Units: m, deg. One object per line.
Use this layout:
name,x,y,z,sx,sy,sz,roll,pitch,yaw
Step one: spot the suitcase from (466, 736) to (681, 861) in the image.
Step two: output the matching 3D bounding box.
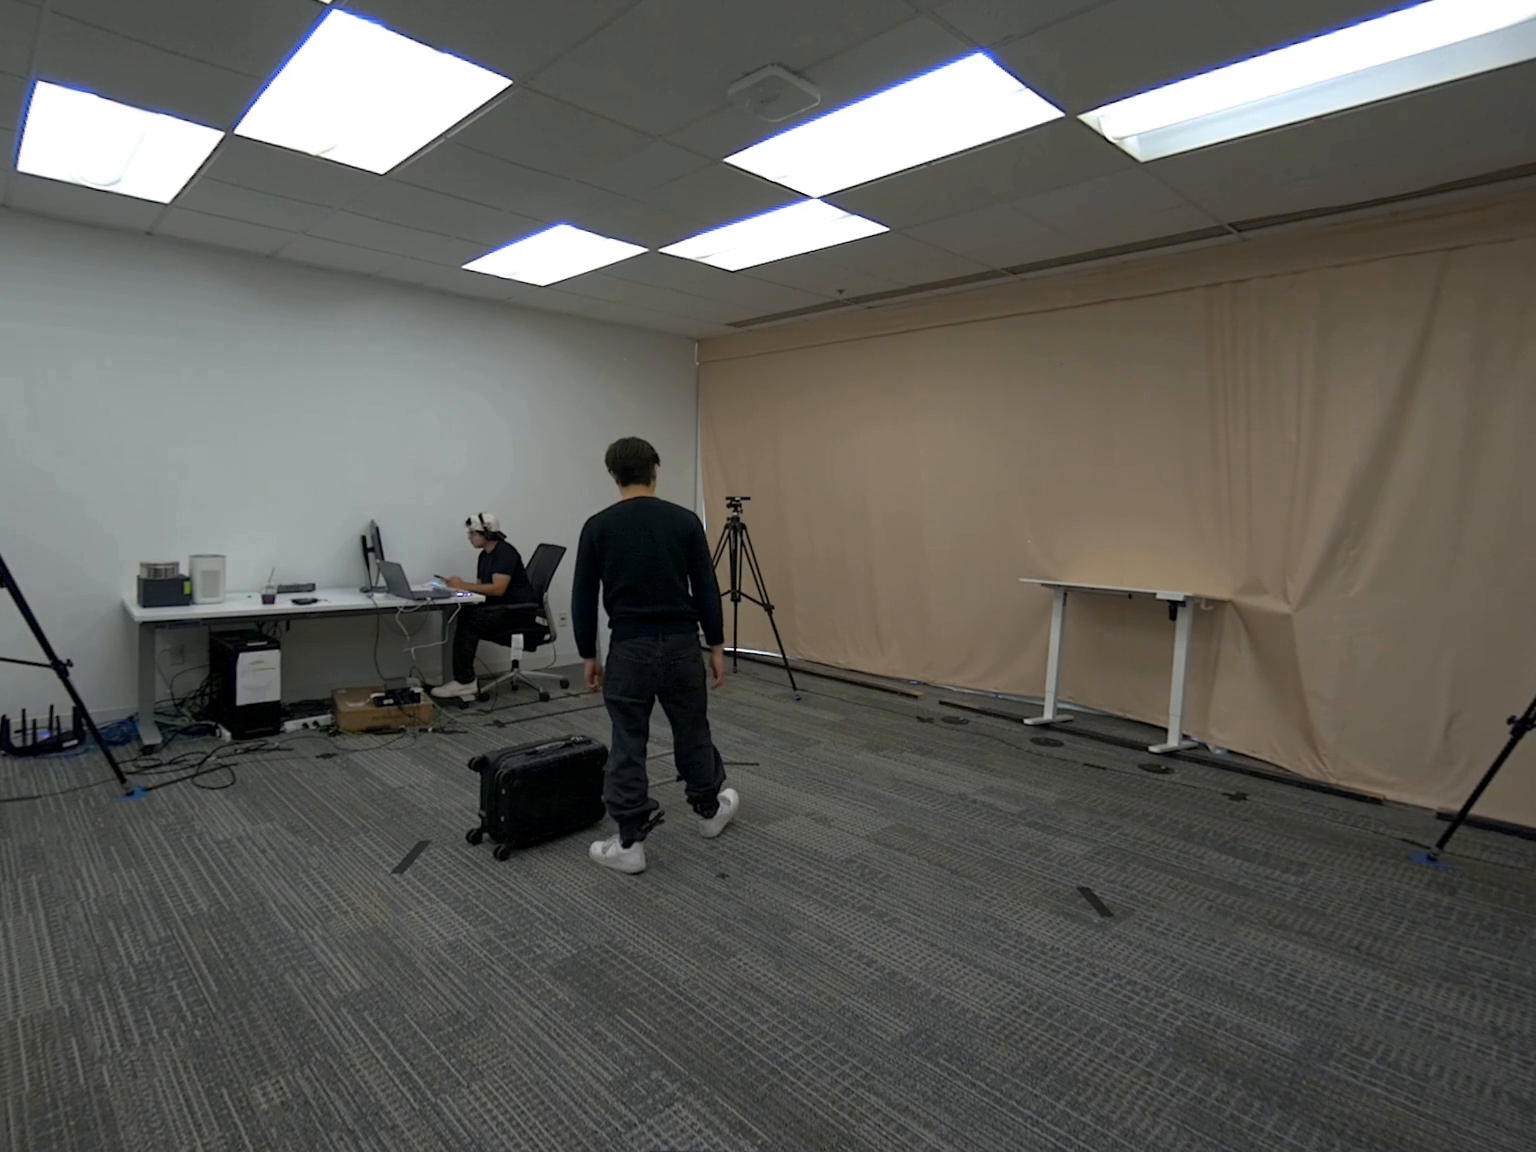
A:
suitcase,-0.794,0.858,3.594,0.264,0.383,0.957,6,6,41
